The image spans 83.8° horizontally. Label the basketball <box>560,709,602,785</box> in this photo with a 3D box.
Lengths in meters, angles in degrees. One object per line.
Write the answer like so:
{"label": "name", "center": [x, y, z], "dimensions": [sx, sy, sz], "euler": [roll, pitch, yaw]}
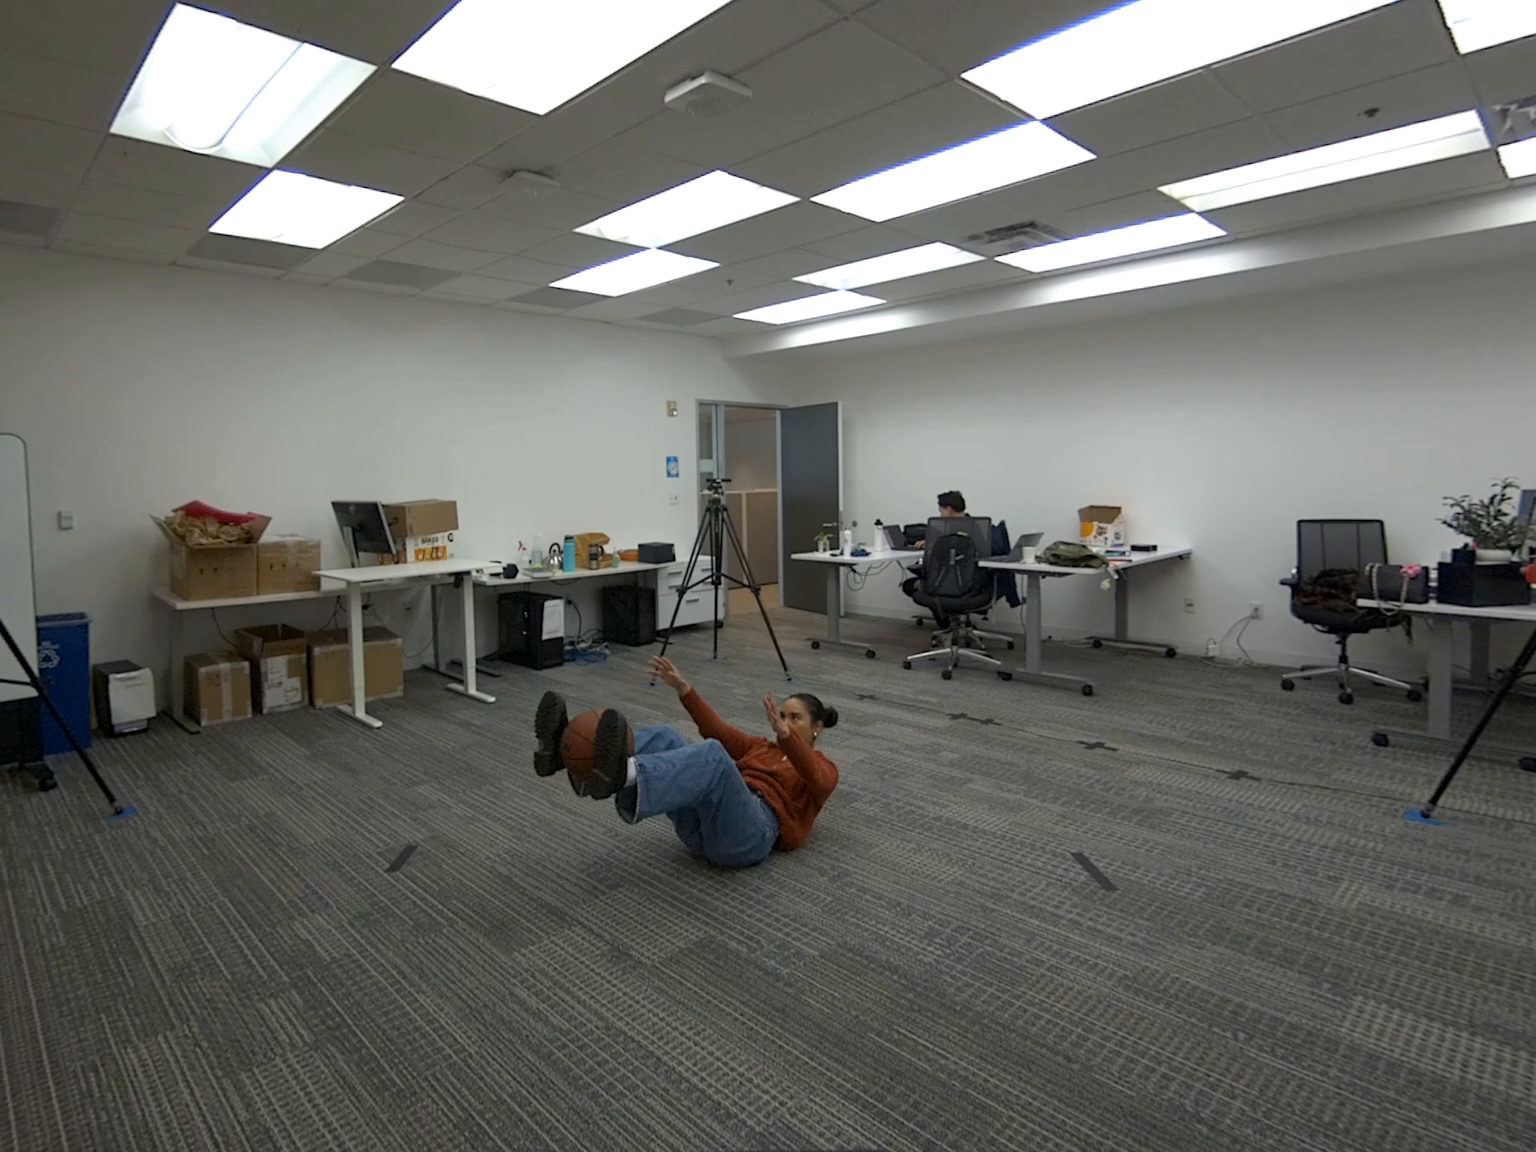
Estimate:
{"label": "basketball", "center": [-0.533, 0.545, 2.732], "dimensions": [0.236, 0.236, 0.236], "euler": [0, 1, -2]}
